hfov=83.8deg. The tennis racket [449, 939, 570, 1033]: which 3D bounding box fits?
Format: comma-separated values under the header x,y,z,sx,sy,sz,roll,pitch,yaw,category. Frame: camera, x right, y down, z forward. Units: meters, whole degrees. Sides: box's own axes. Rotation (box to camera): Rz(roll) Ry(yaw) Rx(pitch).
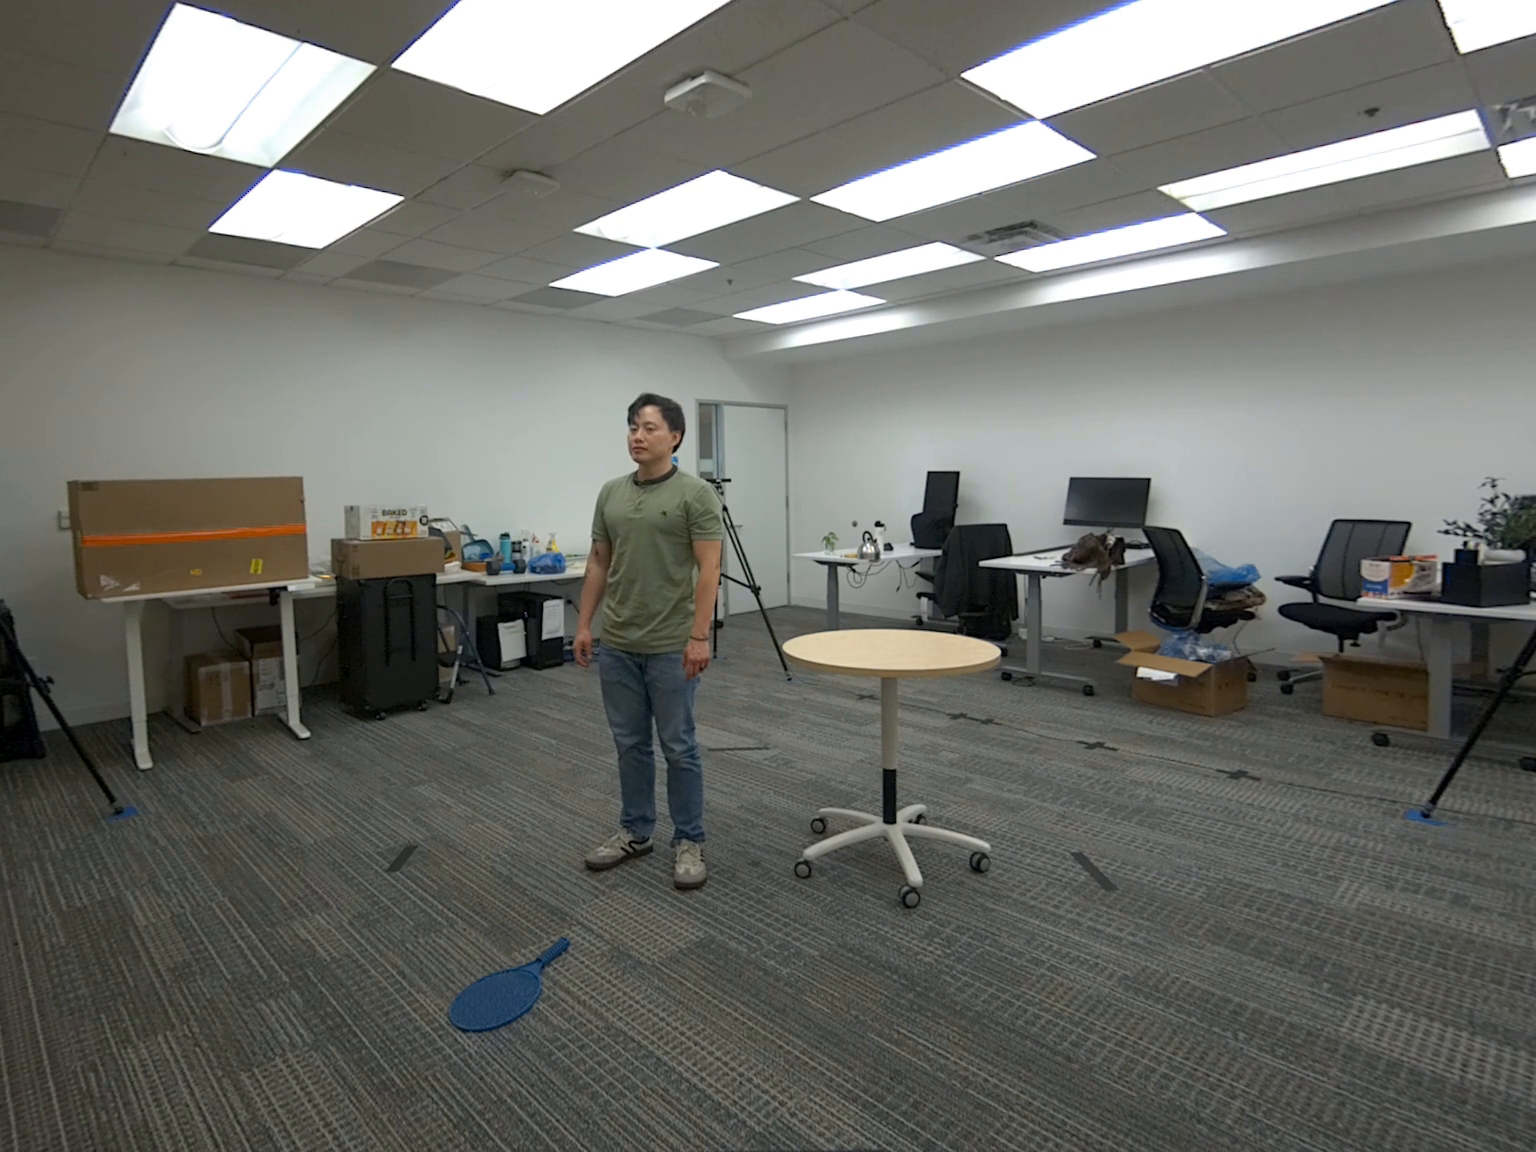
x,y,z,sx,sy,sz,roll,pitch,yaw,category
-0.687,1.129,2.377,0.219,0.031,0.425,2,9,27,tennis racket
